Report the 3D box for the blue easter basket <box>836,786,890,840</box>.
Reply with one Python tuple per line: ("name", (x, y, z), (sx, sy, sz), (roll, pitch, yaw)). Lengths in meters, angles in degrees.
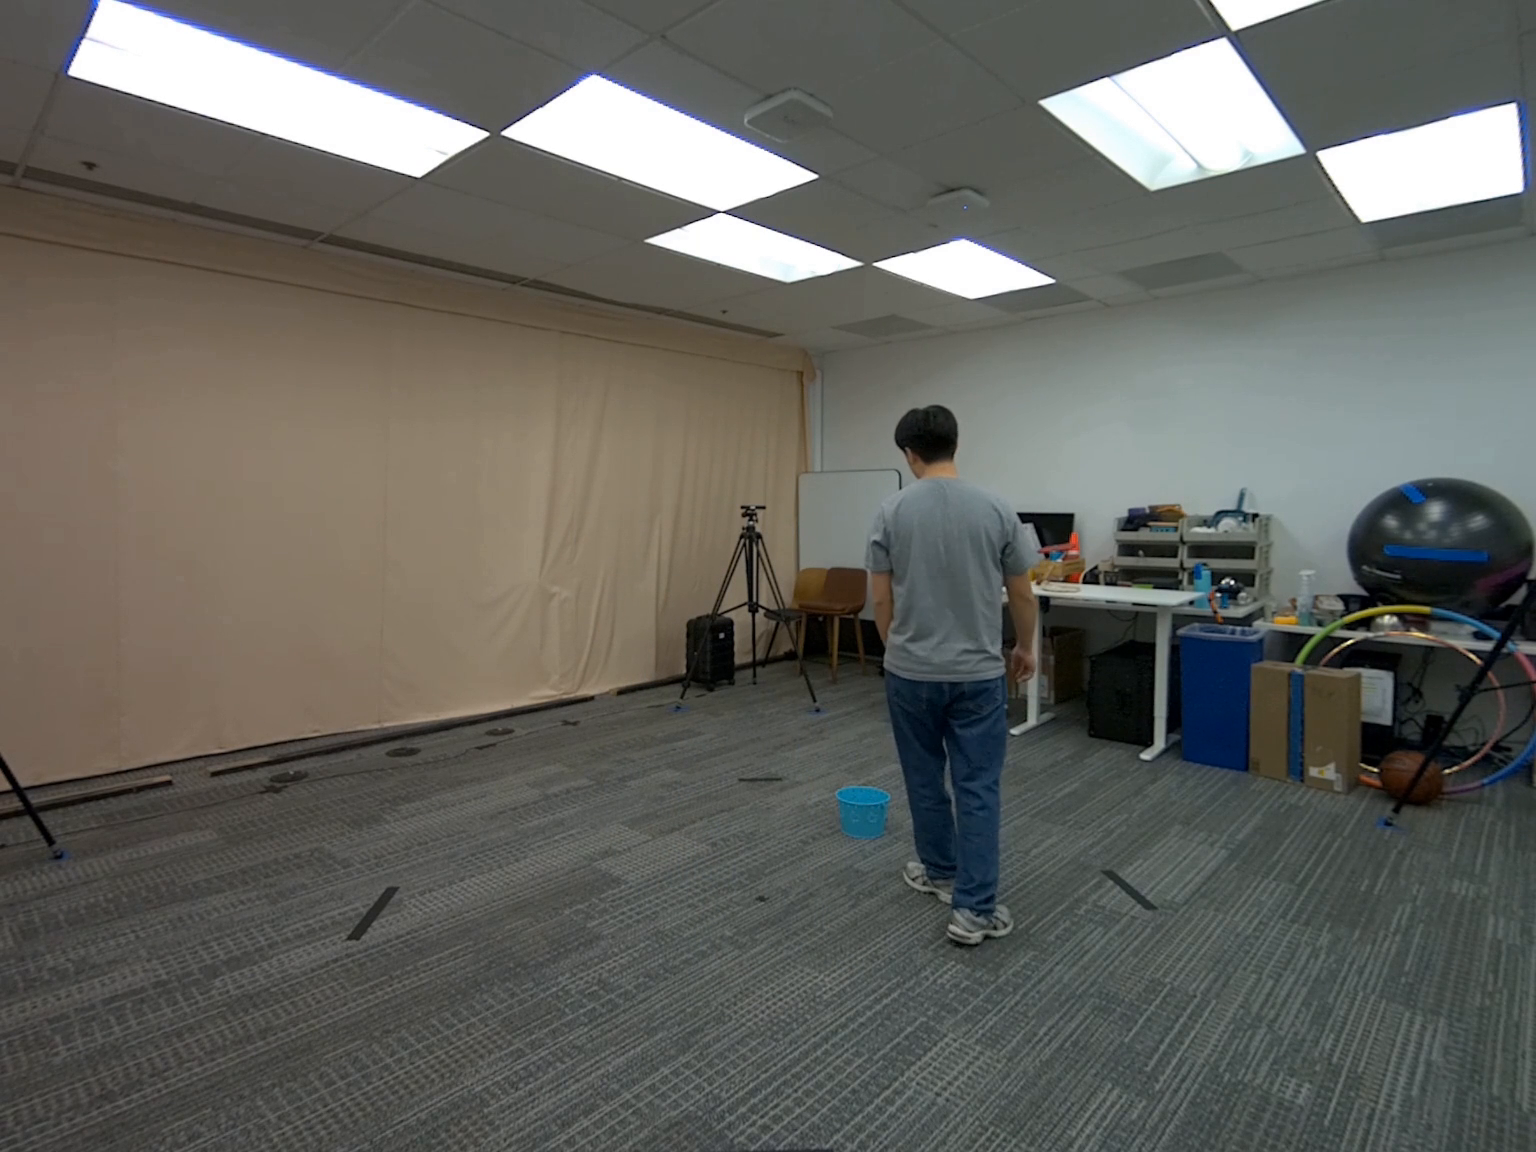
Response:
("blue easter basket", (0.412, 1.010, 3.609), (0.243, 0.155, 0.244), (-1, 4, -2))
